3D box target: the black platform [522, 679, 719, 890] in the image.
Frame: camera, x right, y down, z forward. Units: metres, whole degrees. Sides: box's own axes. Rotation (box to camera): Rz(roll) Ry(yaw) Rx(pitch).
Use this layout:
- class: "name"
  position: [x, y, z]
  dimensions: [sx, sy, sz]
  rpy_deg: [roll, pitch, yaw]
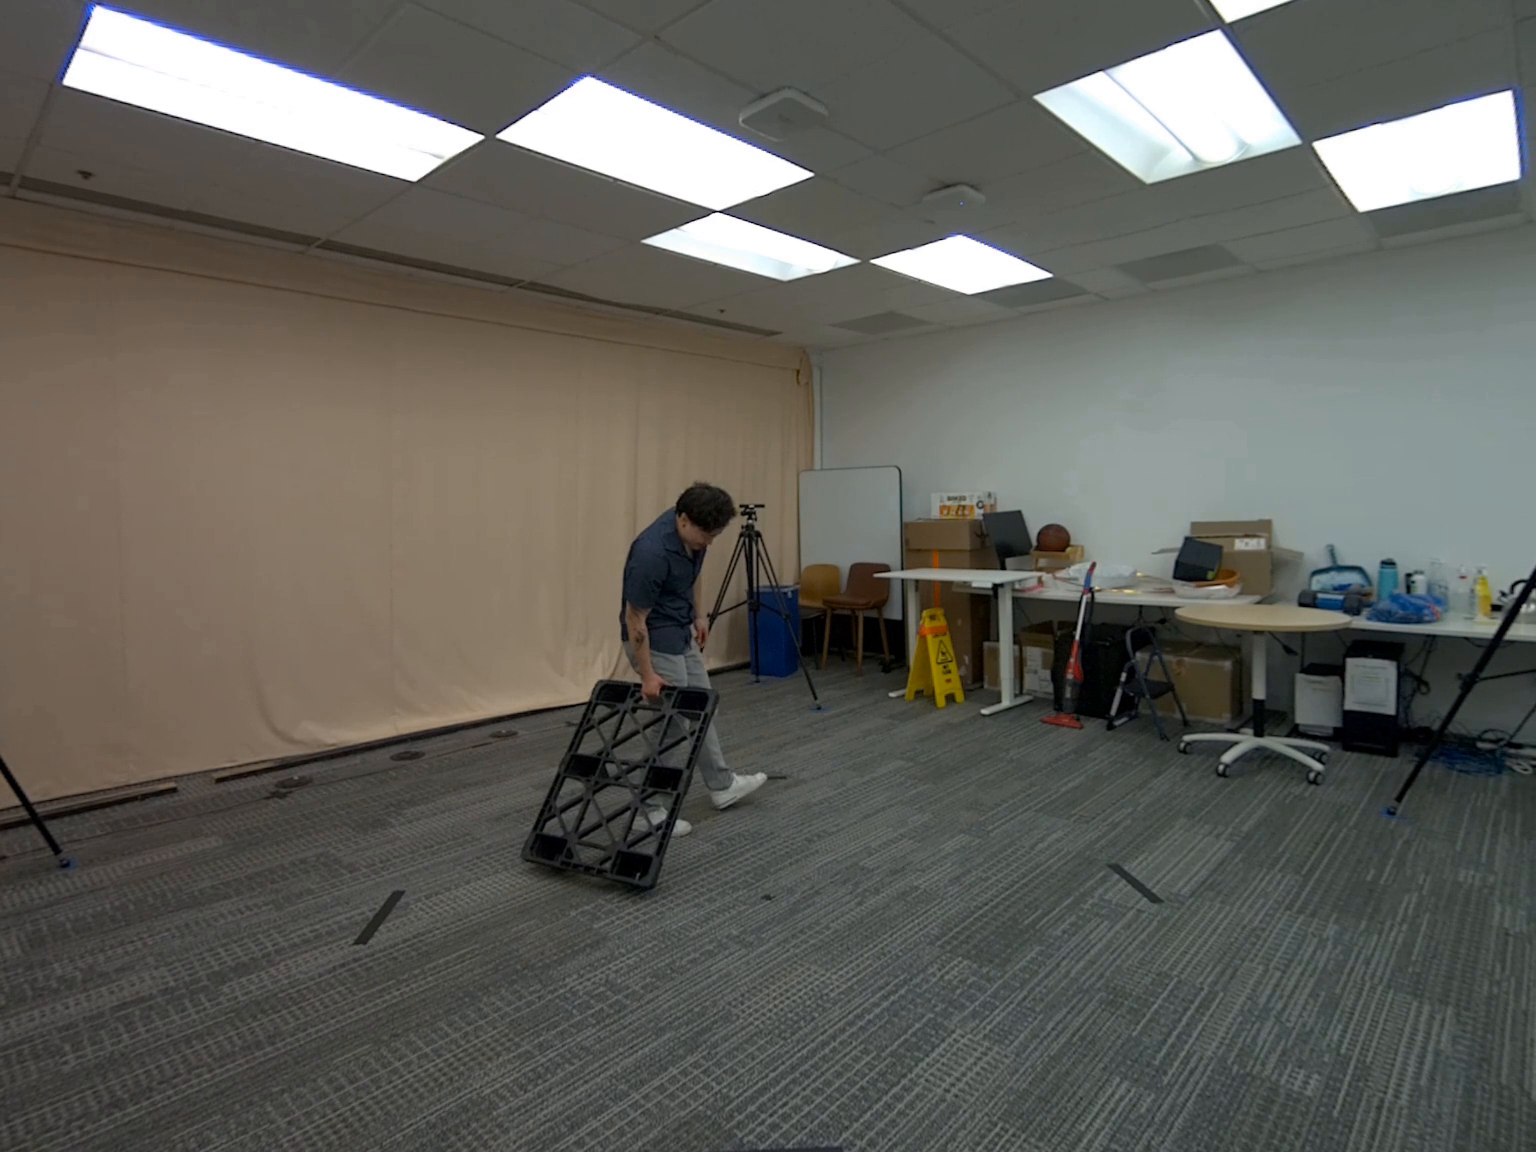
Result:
- class: "black platform"
  position: [-0.558, 0.808, 3.353]
  dimensions: [0.621, 0.811, 0.139]
  rpy_deg: [-1, -38, 27]
